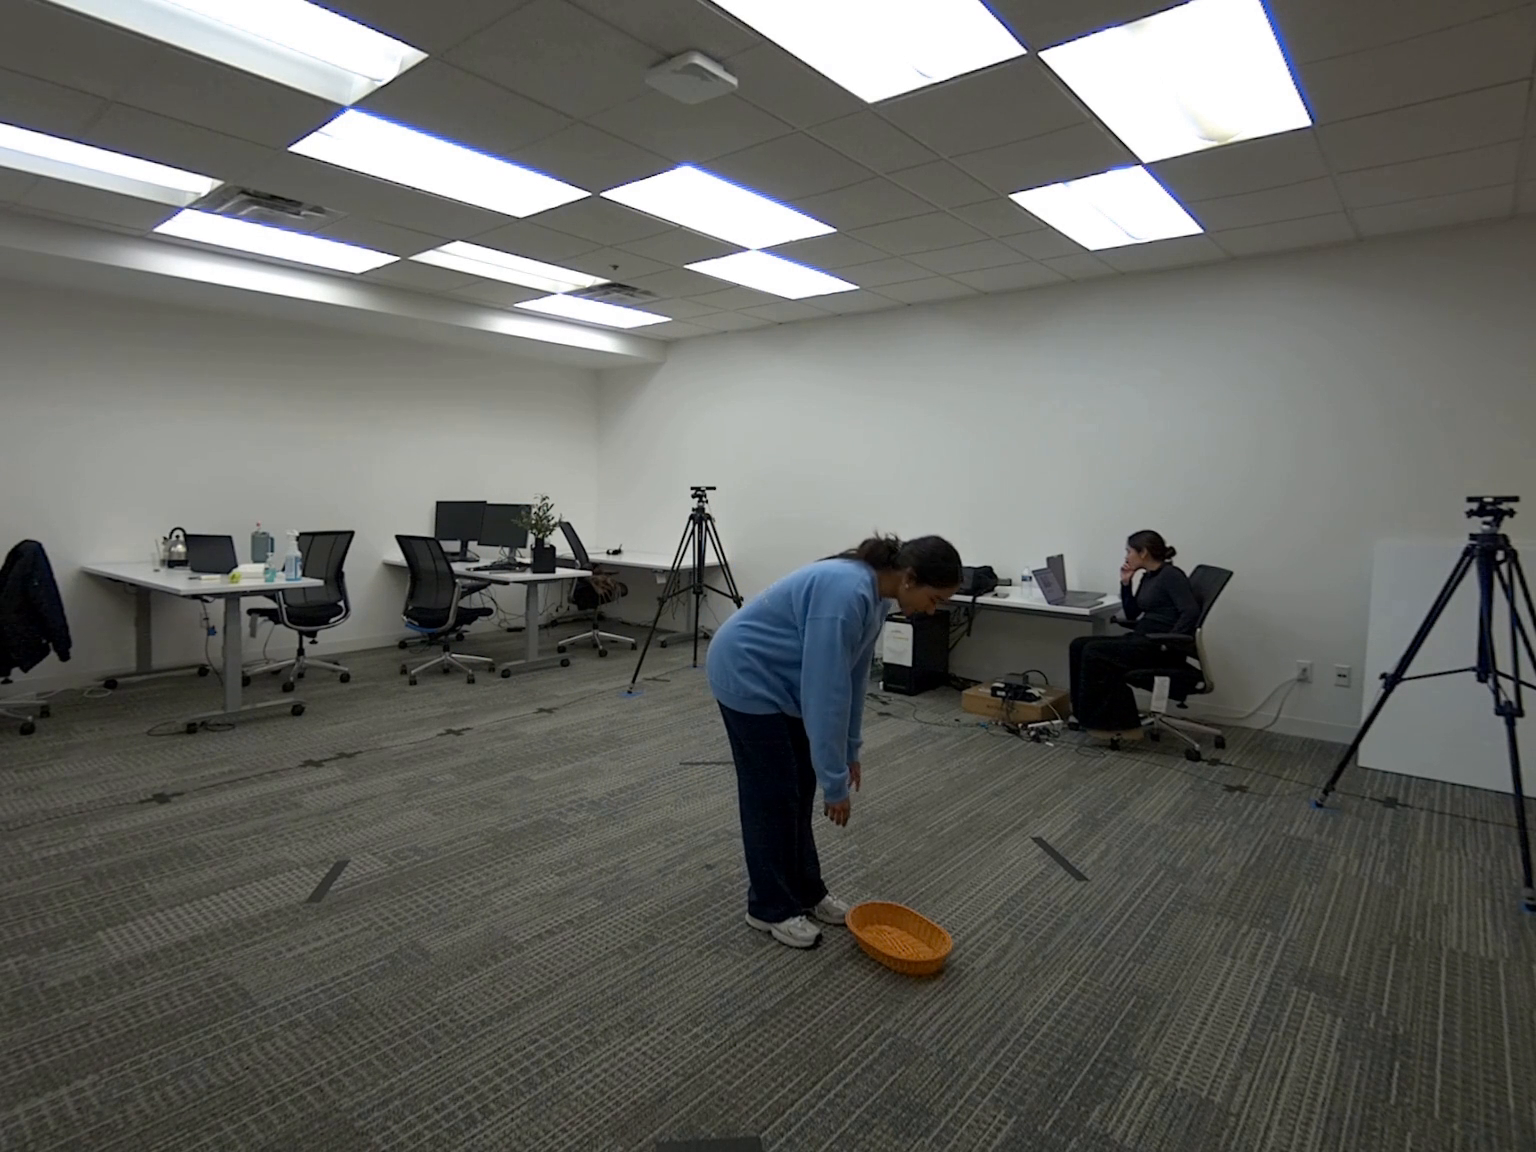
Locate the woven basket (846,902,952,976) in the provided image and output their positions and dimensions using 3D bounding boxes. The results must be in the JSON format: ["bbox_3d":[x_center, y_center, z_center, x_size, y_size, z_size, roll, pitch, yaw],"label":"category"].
[{"bbox_3d":[0.383,1.089,2.568,0.246,0.073,0.362,-4,8,-32],"label":"woven basket"}]
